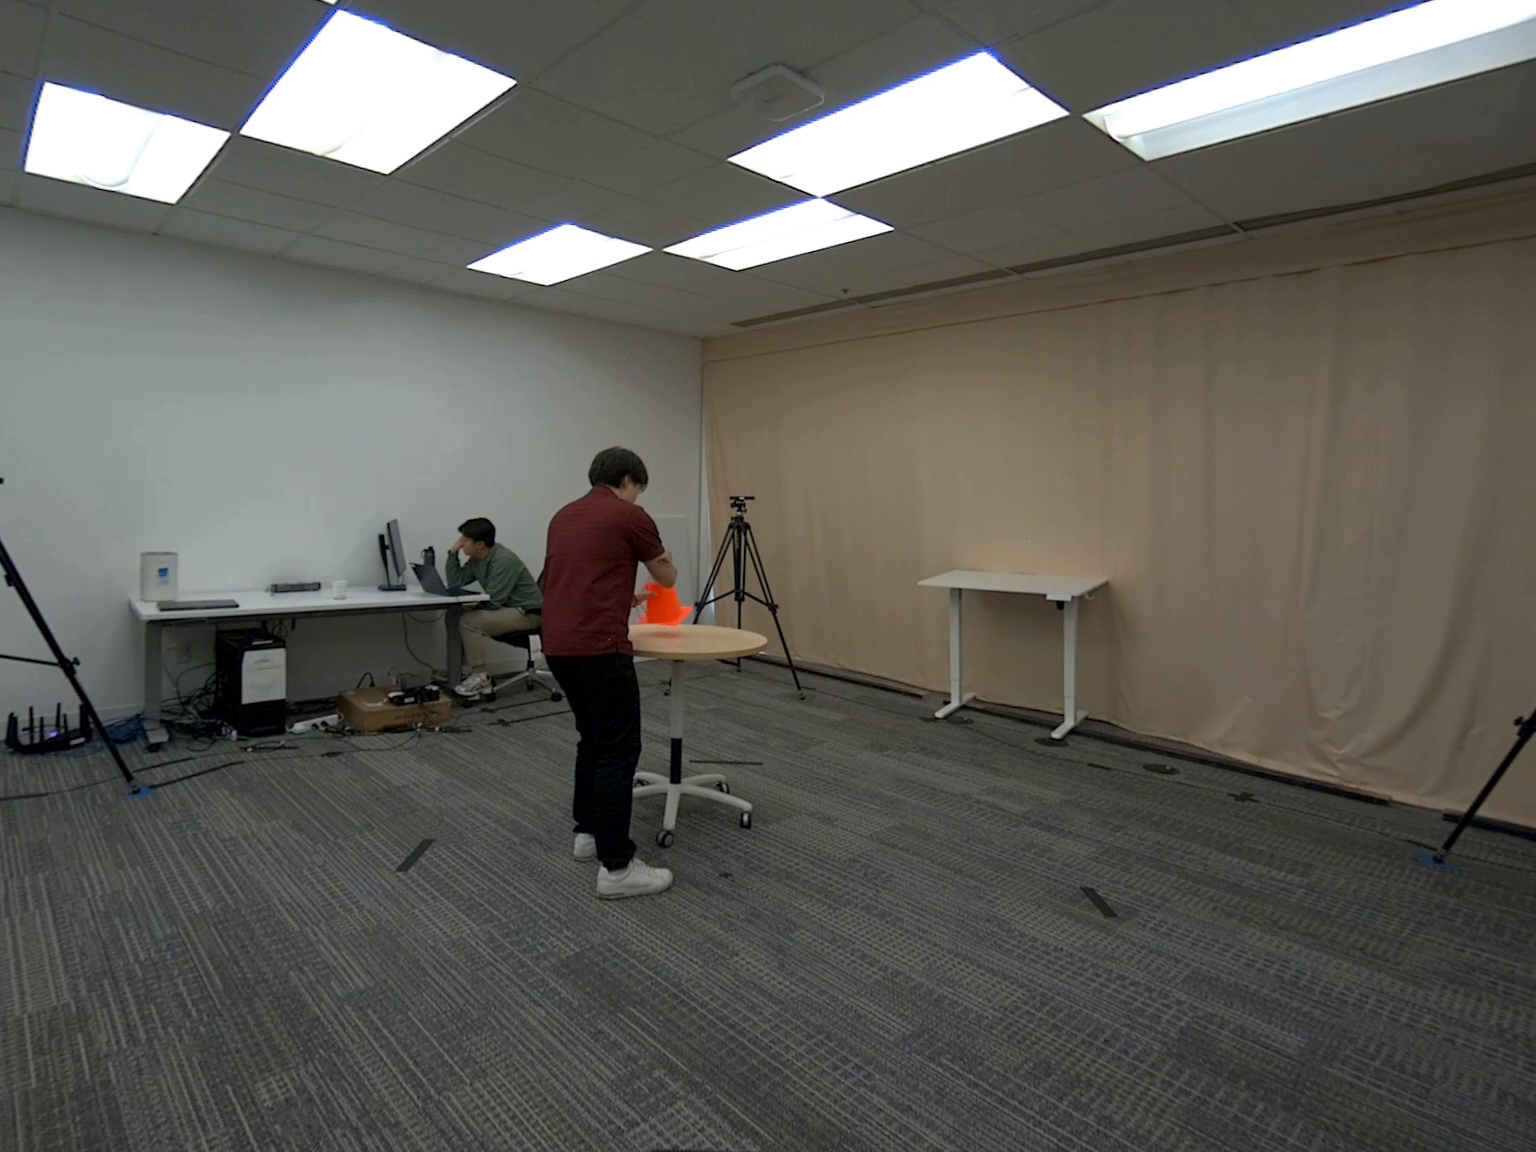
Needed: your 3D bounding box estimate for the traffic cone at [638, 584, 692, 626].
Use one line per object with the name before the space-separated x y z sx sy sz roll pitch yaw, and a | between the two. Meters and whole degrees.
traffic cone | -0.485 0.004 3.658 0.204 0.379 0.206 -2 15 6
